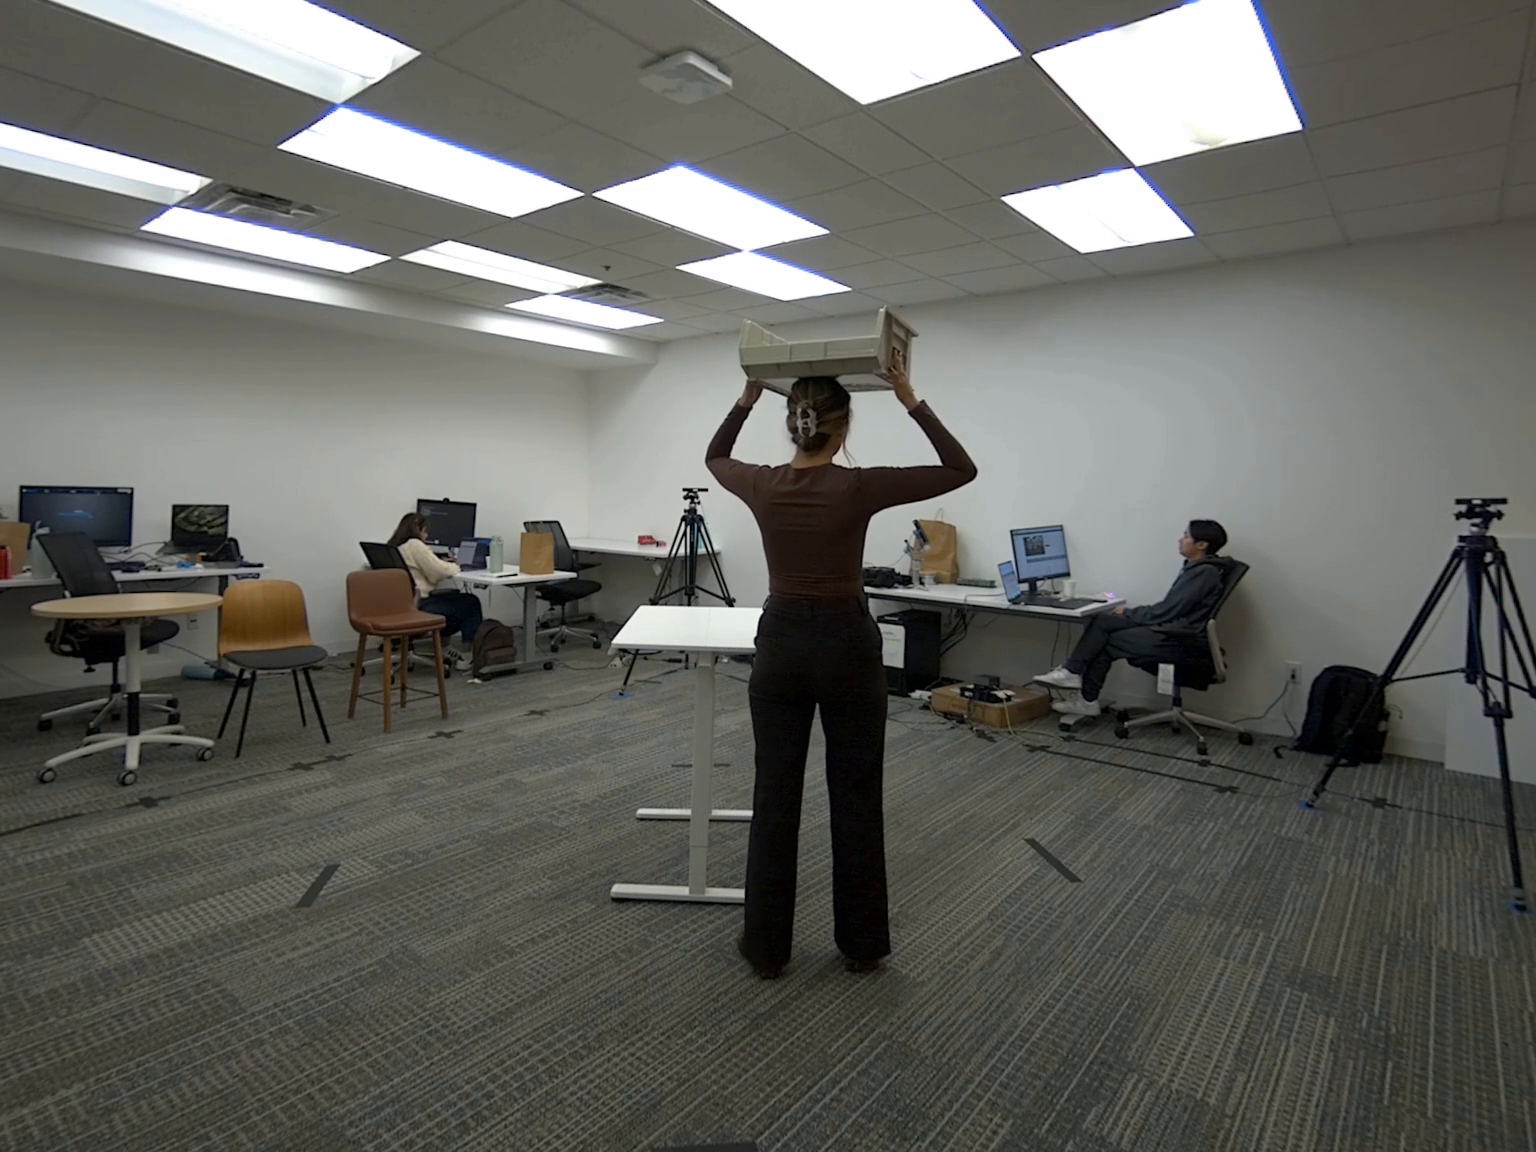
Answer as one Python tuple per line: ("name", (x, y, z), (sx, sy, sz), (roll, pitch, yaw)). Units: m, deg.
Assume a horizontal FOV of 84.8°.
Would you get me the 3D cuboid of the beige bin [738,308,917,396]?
("beige bin", (0.173, -0.649, 2.487), (0.433, 0.189, 0.368), (3, 2, 26))
